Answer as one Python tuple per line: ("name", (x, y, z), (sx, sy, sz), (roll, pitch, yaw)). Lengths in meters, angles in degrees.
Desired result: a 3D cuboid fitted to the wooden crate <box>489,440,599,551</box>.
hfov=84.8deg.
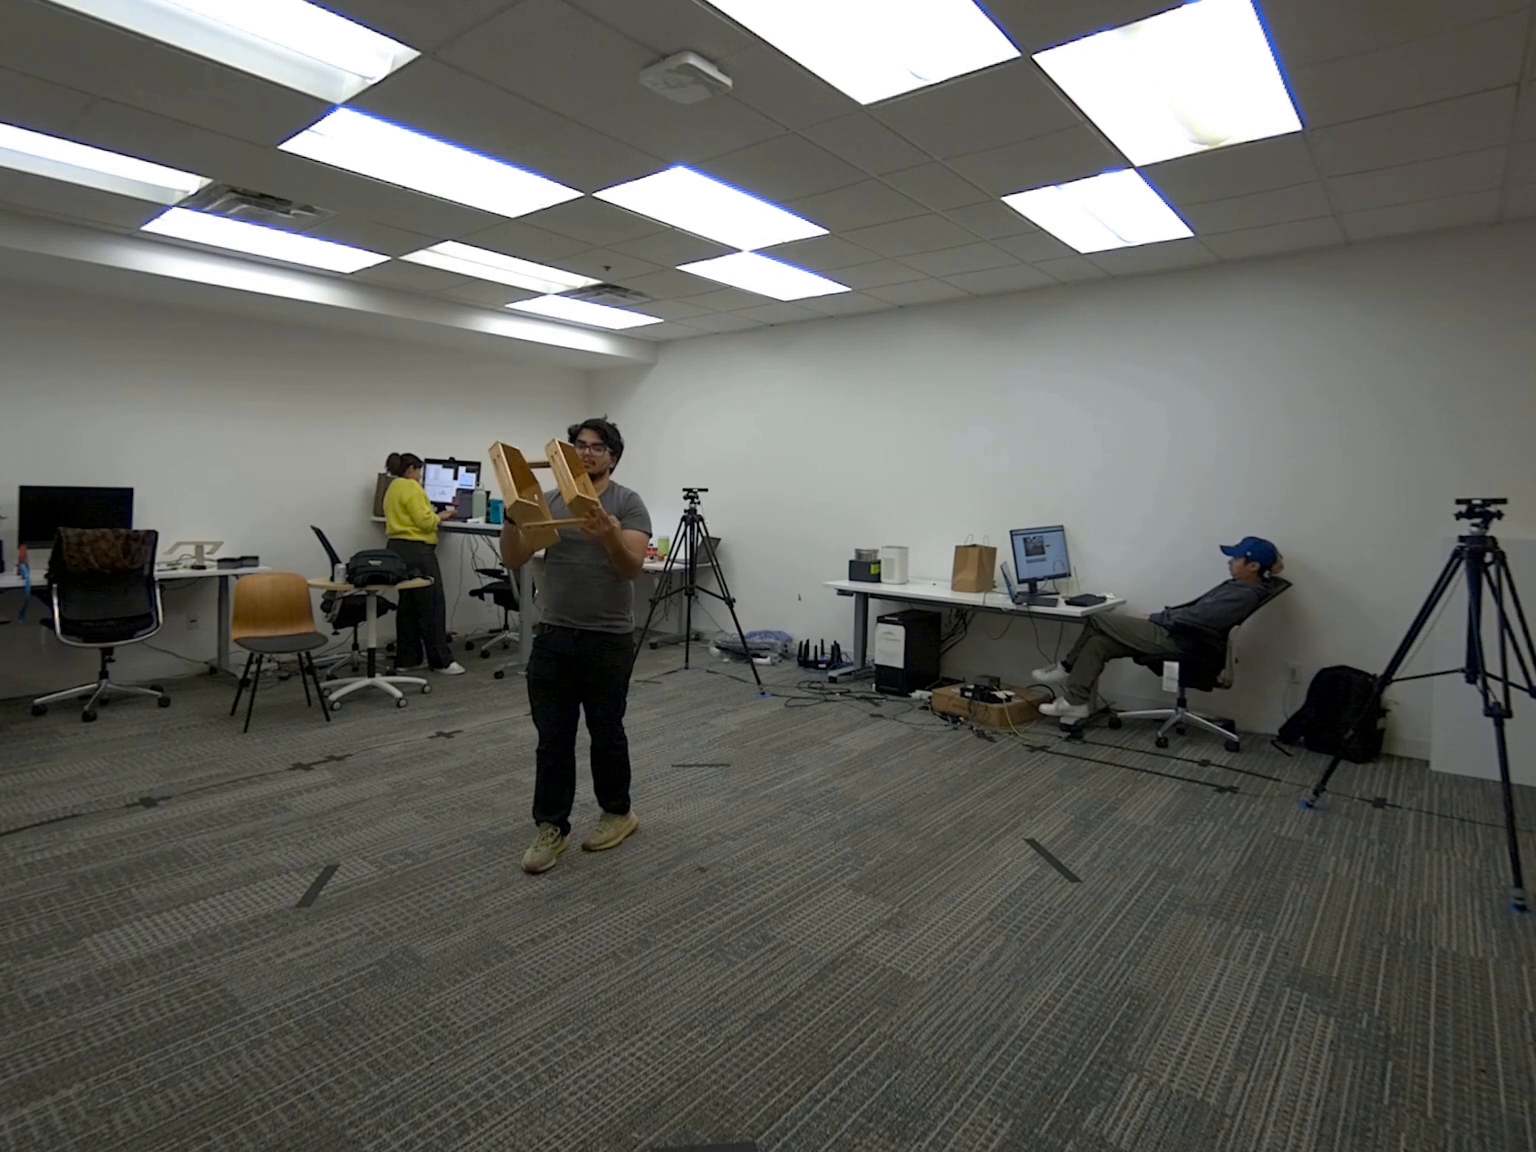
("wooden crate", (-0.740, -0.301, 2.846), (0.272, 0.337, 0.291), (-25, -37, -5))
